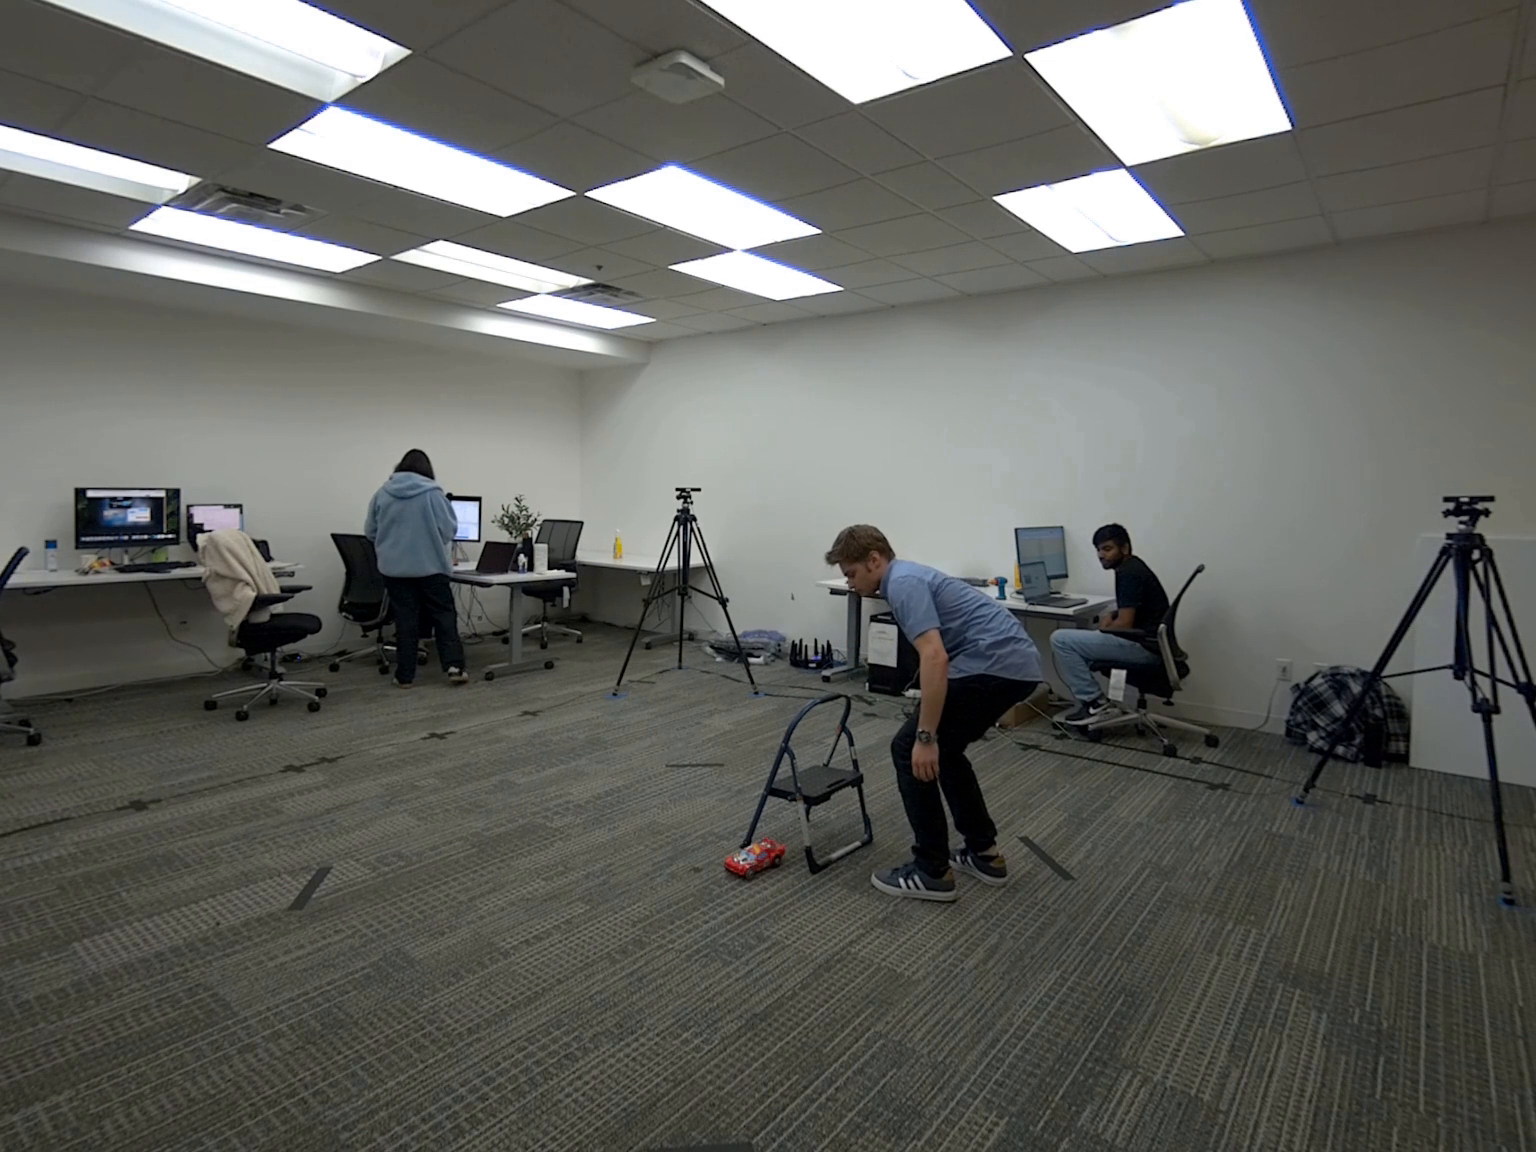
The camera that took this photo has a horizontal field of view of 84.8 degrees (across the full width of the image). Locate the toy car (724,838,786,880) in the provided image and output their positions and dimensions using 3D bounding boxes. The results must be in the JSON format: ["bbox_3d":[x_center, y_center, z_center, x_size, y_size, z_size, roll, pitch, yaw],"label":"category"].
[{"bbox_3d":[-0.045,1.038,3.135,0.135,0.082,0.249,4,17,44],"label":"toy car"}]
